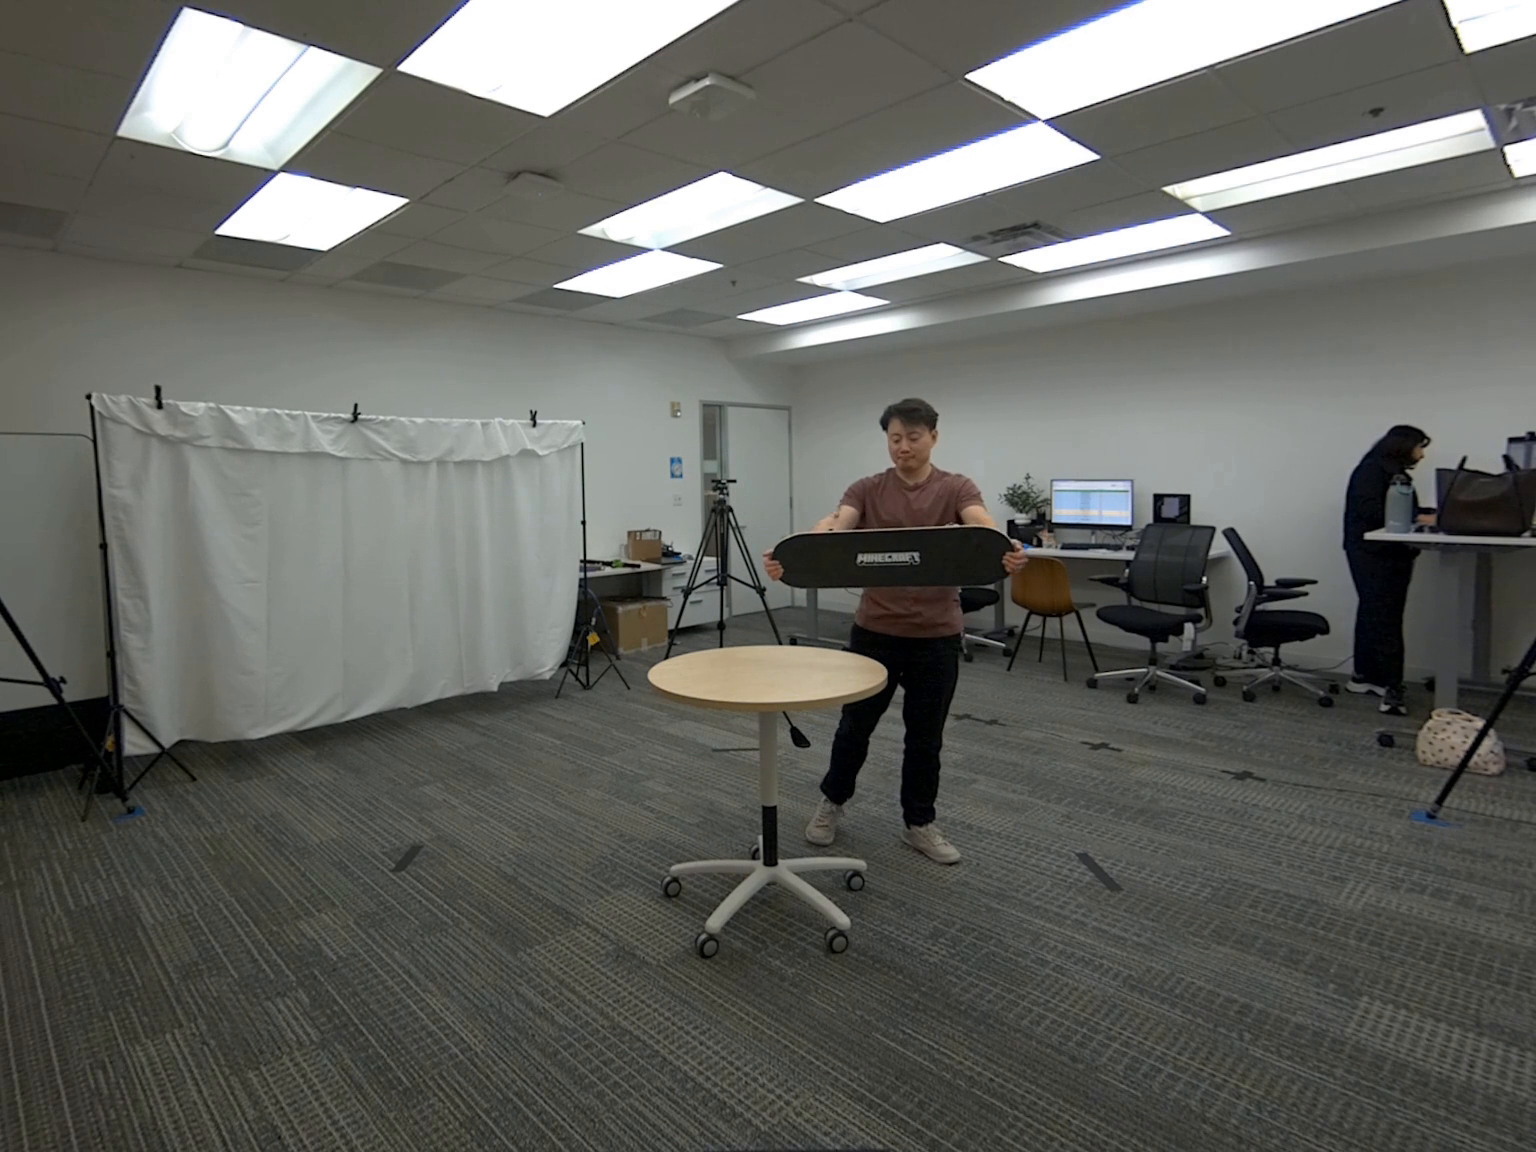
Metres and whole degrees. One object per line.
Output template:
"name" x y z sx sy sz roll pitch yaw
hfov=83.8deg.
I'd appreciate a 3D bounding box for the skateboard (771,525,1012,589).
"skateboard" 0.410 -0.060 2.790 0.801 0.192 0.109 -1 10 22
